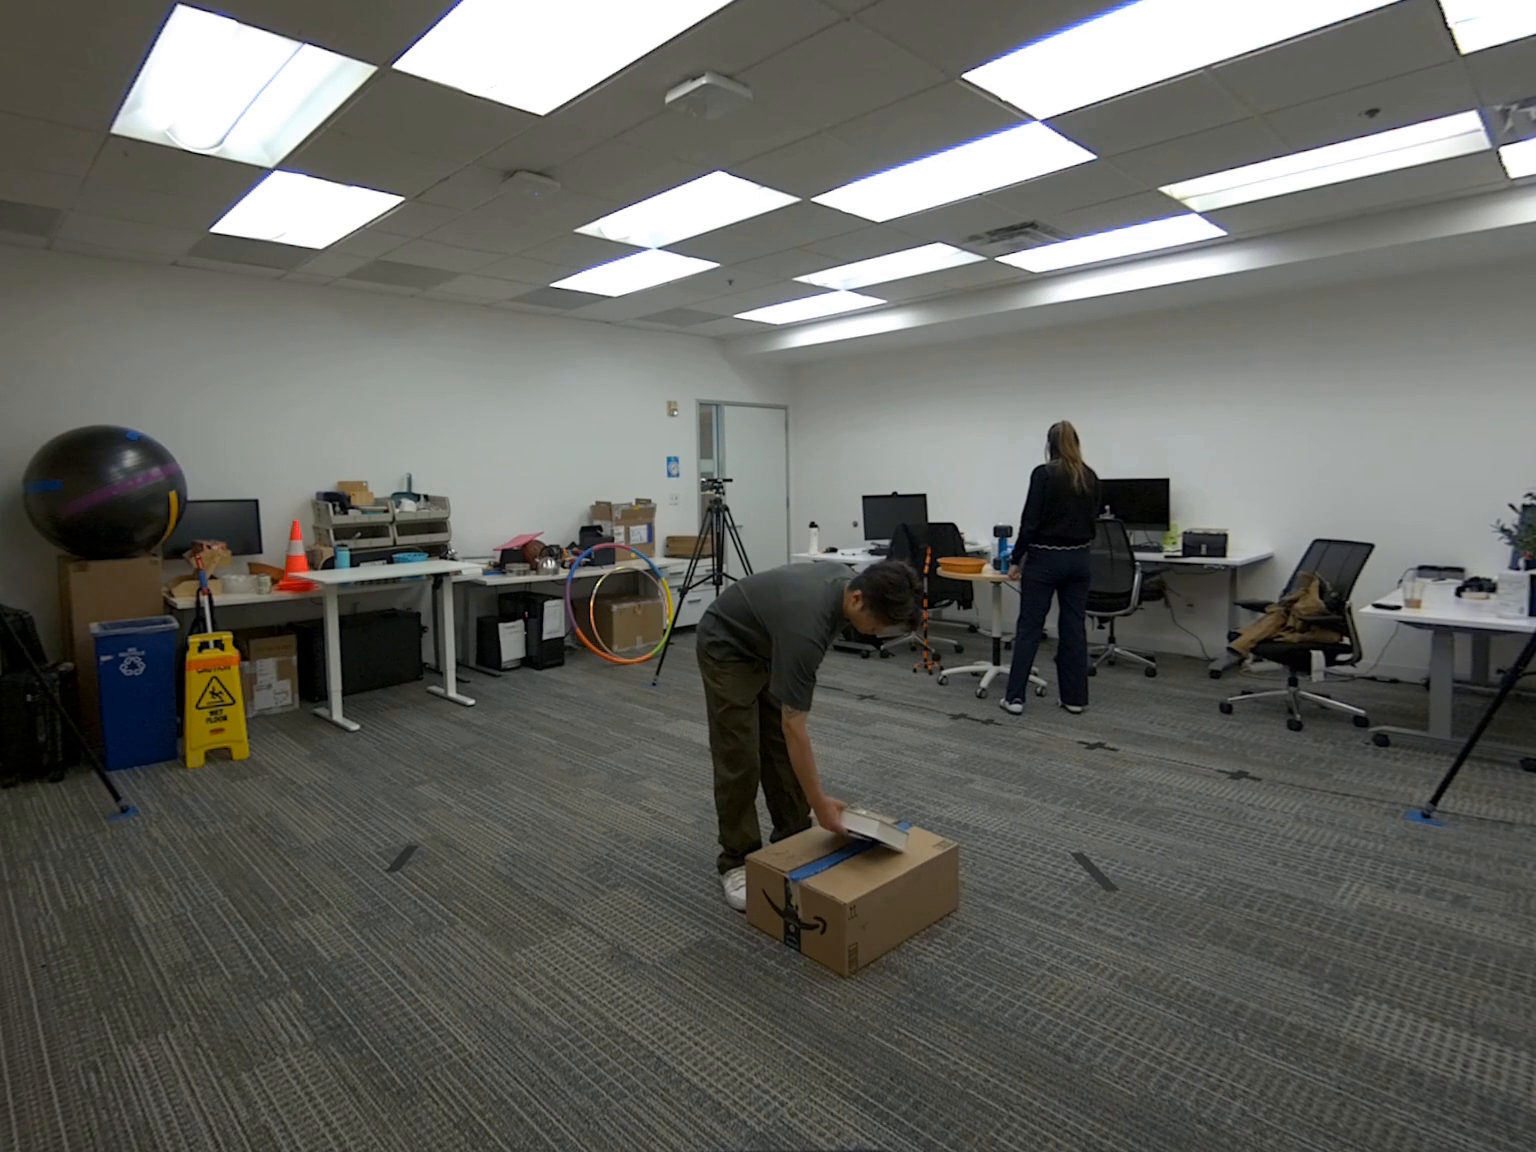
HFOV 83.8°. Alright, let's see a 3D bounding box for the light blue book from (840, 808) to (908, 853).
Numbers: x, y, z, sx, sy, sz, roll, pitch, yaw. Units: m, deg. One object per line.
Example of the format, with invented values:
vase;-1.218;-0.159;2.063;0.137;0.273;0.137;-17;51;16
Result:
light blue book;0.293;0.792;2.721;0.269;0.059;0.184;4;-24;44
